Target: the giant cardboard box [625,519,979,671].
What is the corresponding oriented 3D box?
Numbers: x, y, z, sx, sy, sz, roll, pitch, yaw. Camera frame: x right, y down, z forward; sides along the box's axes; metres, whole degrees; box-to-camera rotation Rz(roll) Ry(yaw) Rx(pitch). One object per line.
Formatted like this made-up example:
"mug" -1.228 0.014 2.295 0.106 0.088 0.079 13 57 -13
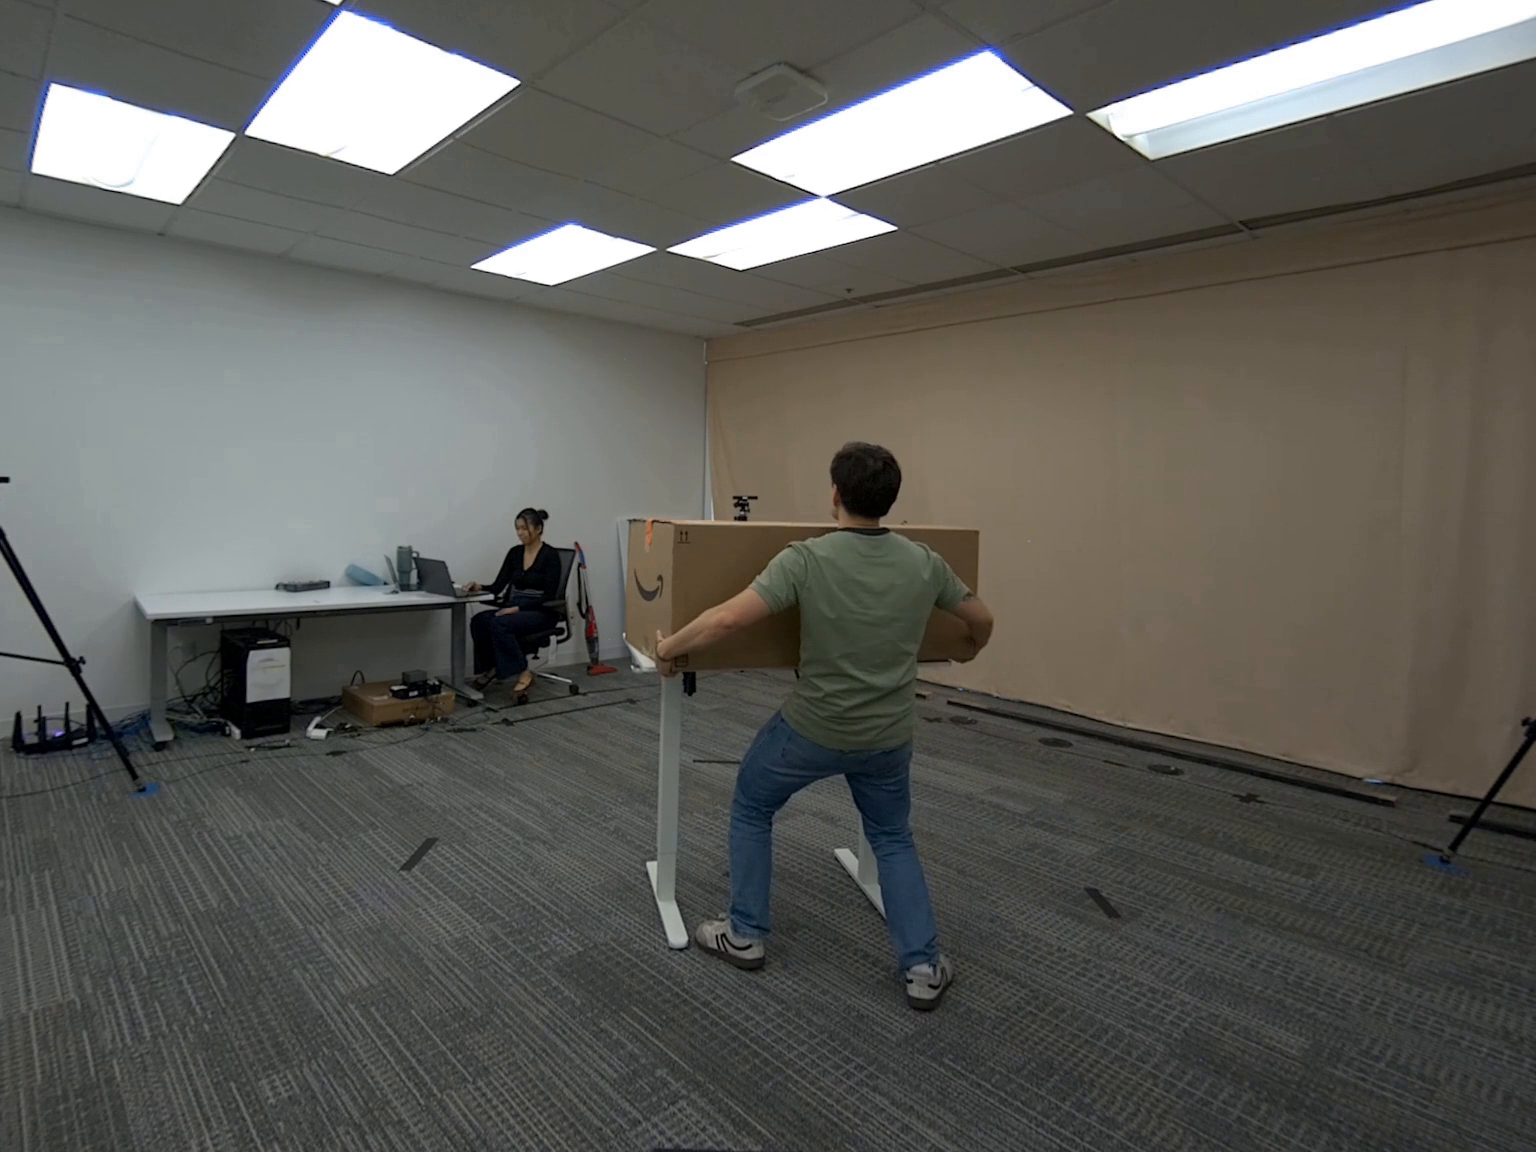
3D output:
"giant cardboard box" 0.087 0.035 2.816 1.010 0.425 0.588 0 5 -20
